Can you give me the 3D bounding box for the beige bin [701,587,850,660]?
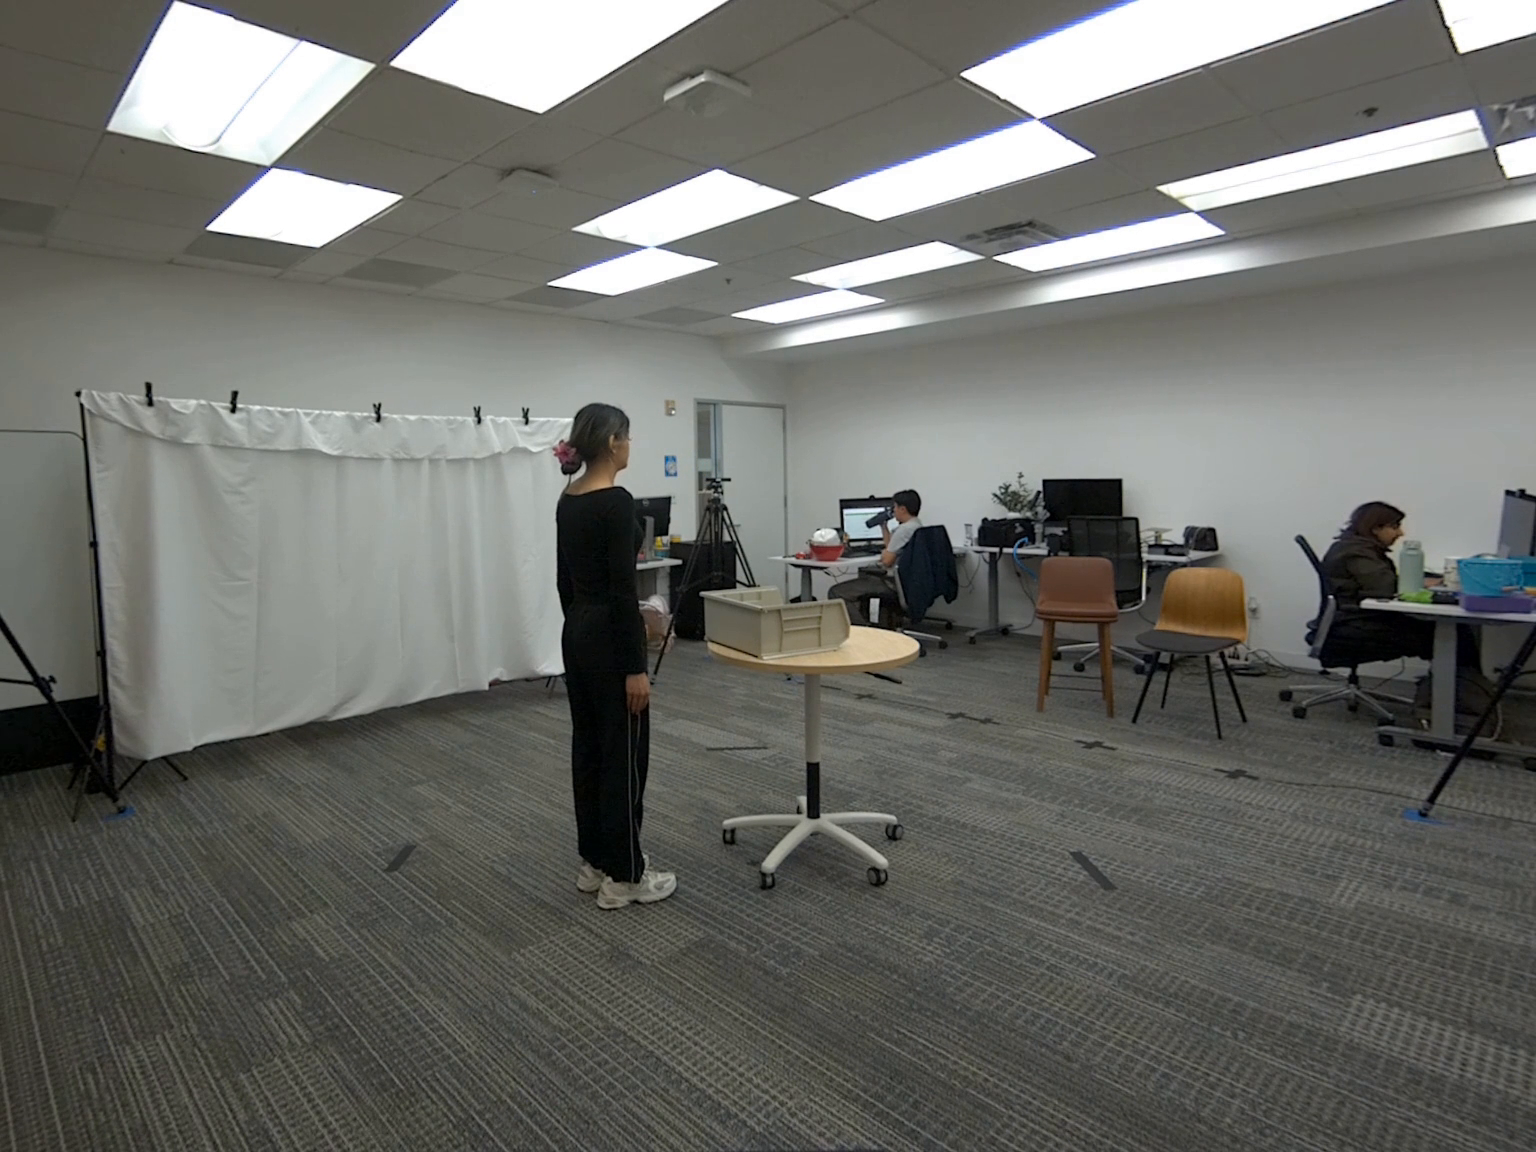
[{"bbox_3d":[0.023,0.159,3.086,0.369,0.188,0.435,-6,9,-31],"label":"beige bin"}]
